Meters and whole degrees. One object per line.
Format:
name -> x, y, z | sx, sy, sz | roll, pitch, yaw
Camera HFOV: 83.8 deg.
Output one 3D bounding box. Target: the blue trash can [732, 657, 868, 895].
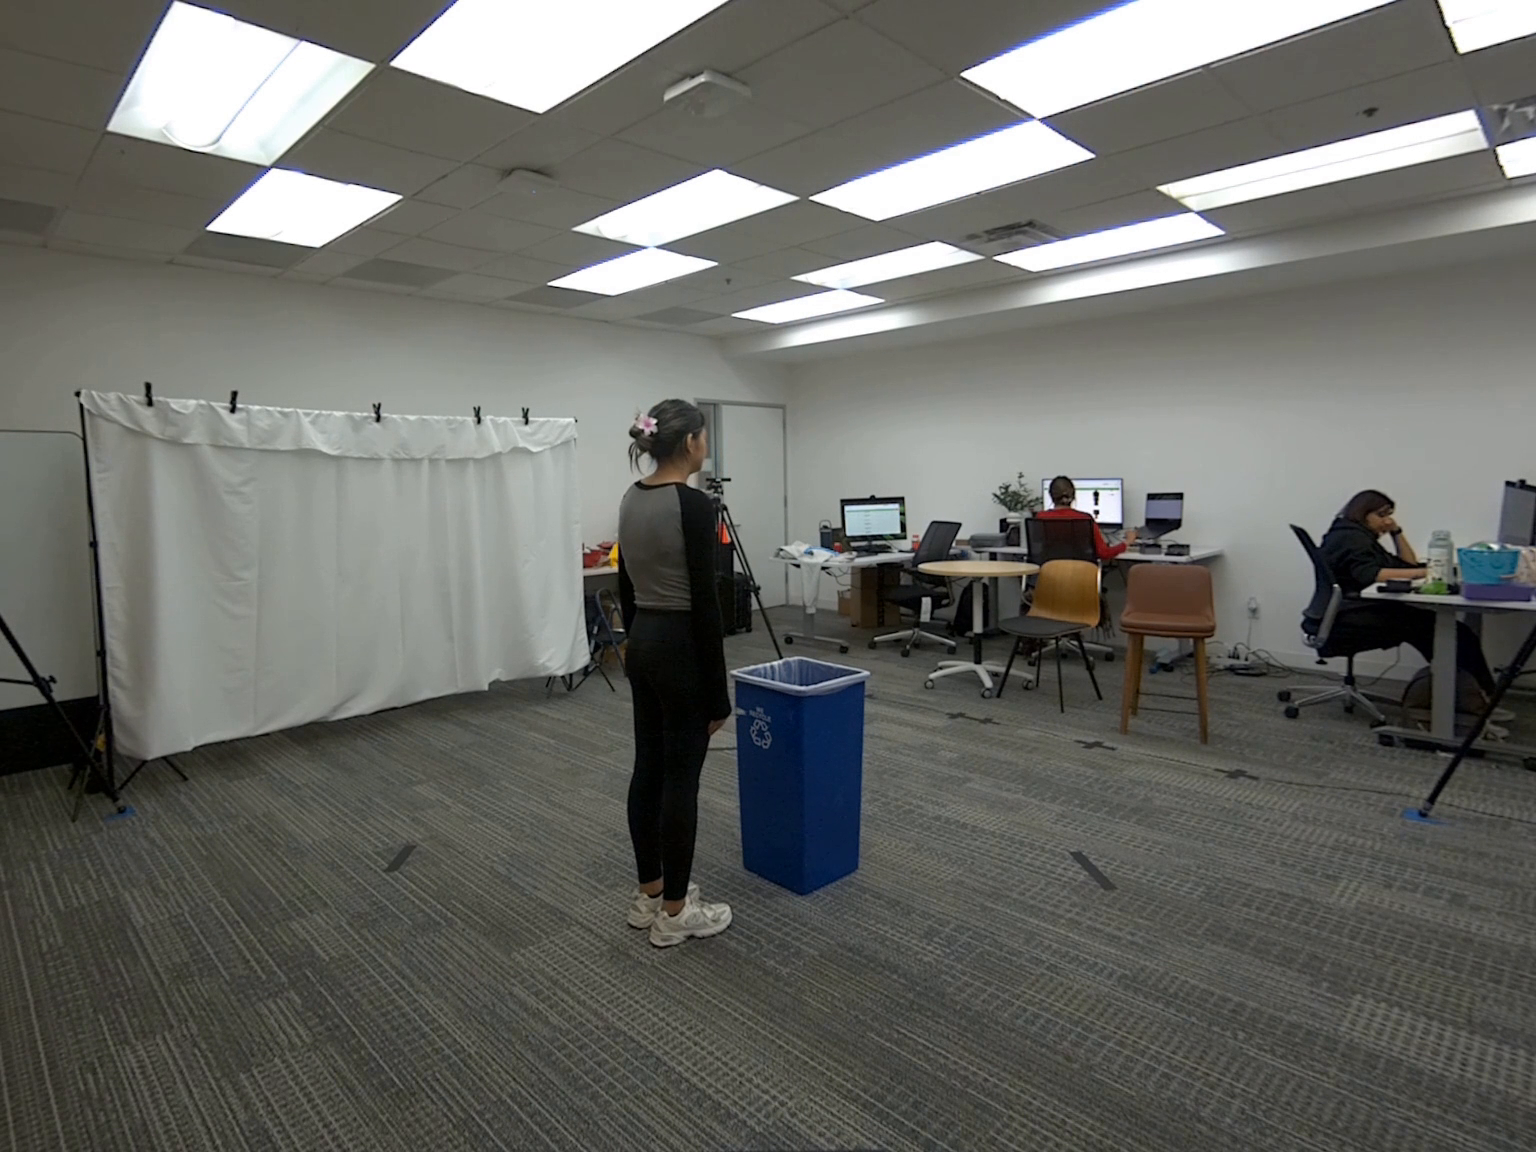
blue trash can -> 0.123, 0.690, 3.031 | 0.368, 0.711, 0.385 | -5, 6, -43
